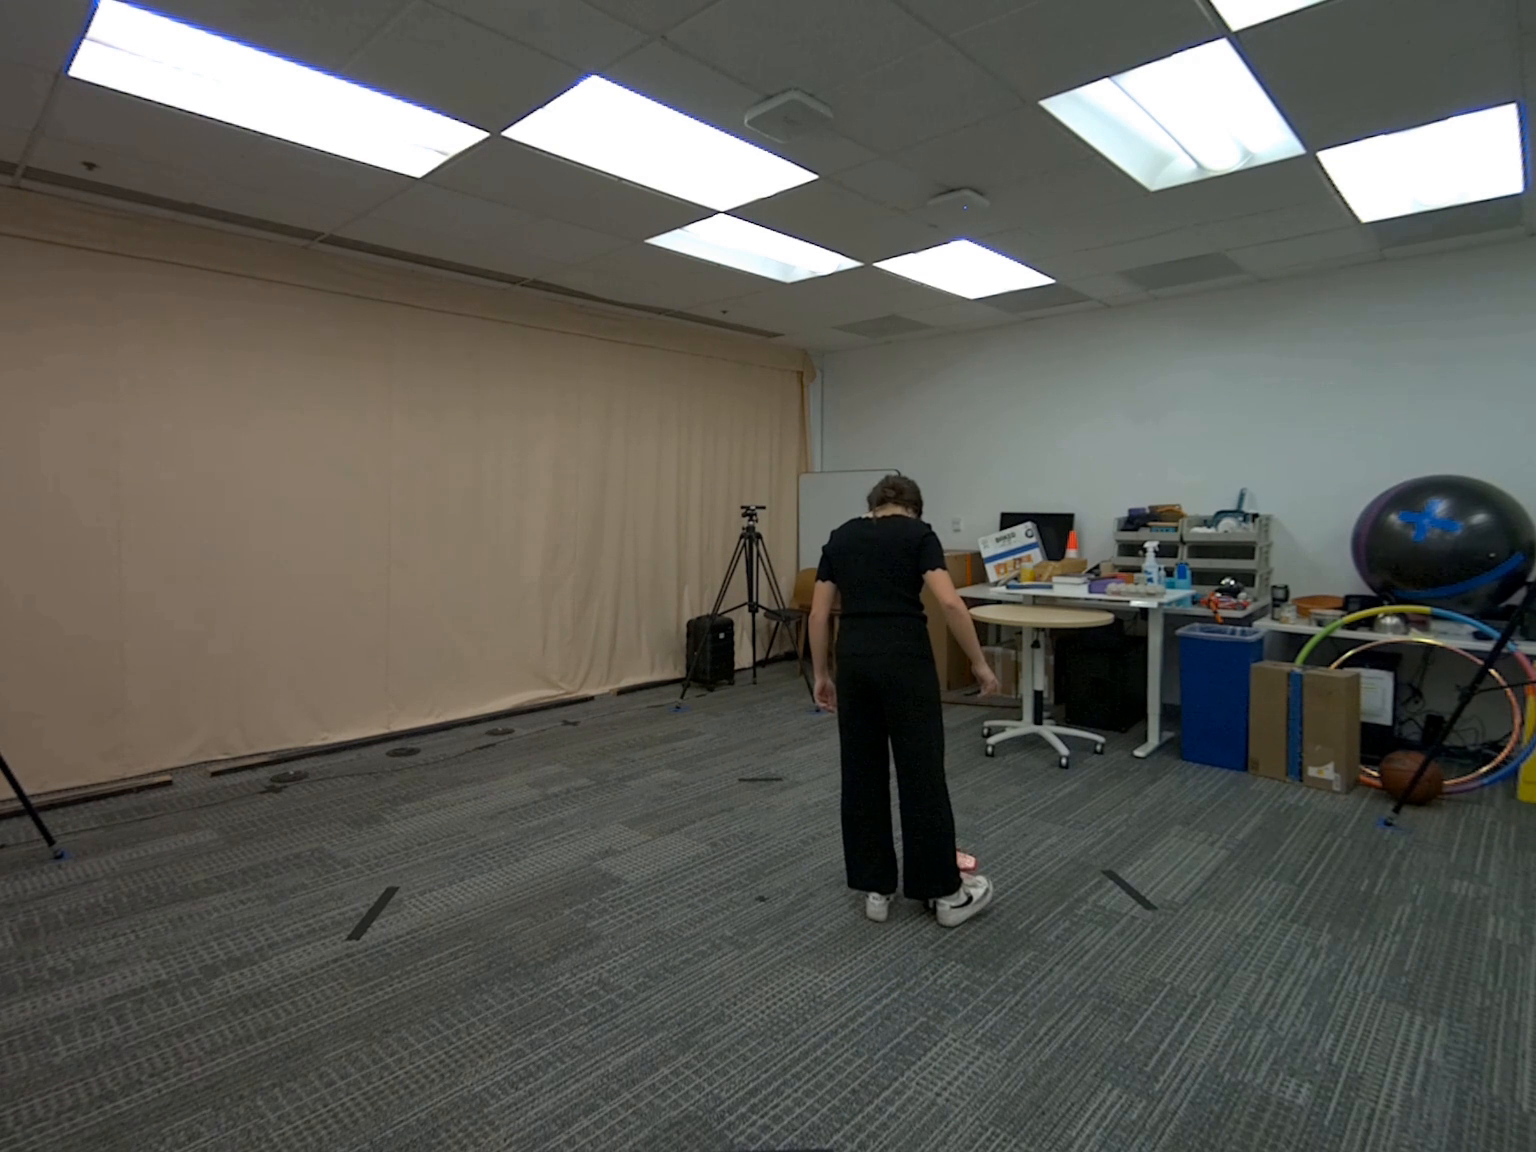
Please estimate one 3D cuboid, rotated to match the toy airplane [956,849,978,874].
[{"bbox_3d":[0.628,1.068,2.974,0.250,0.156,0.261,0,4,-5],"label":"toy airplane"}]
